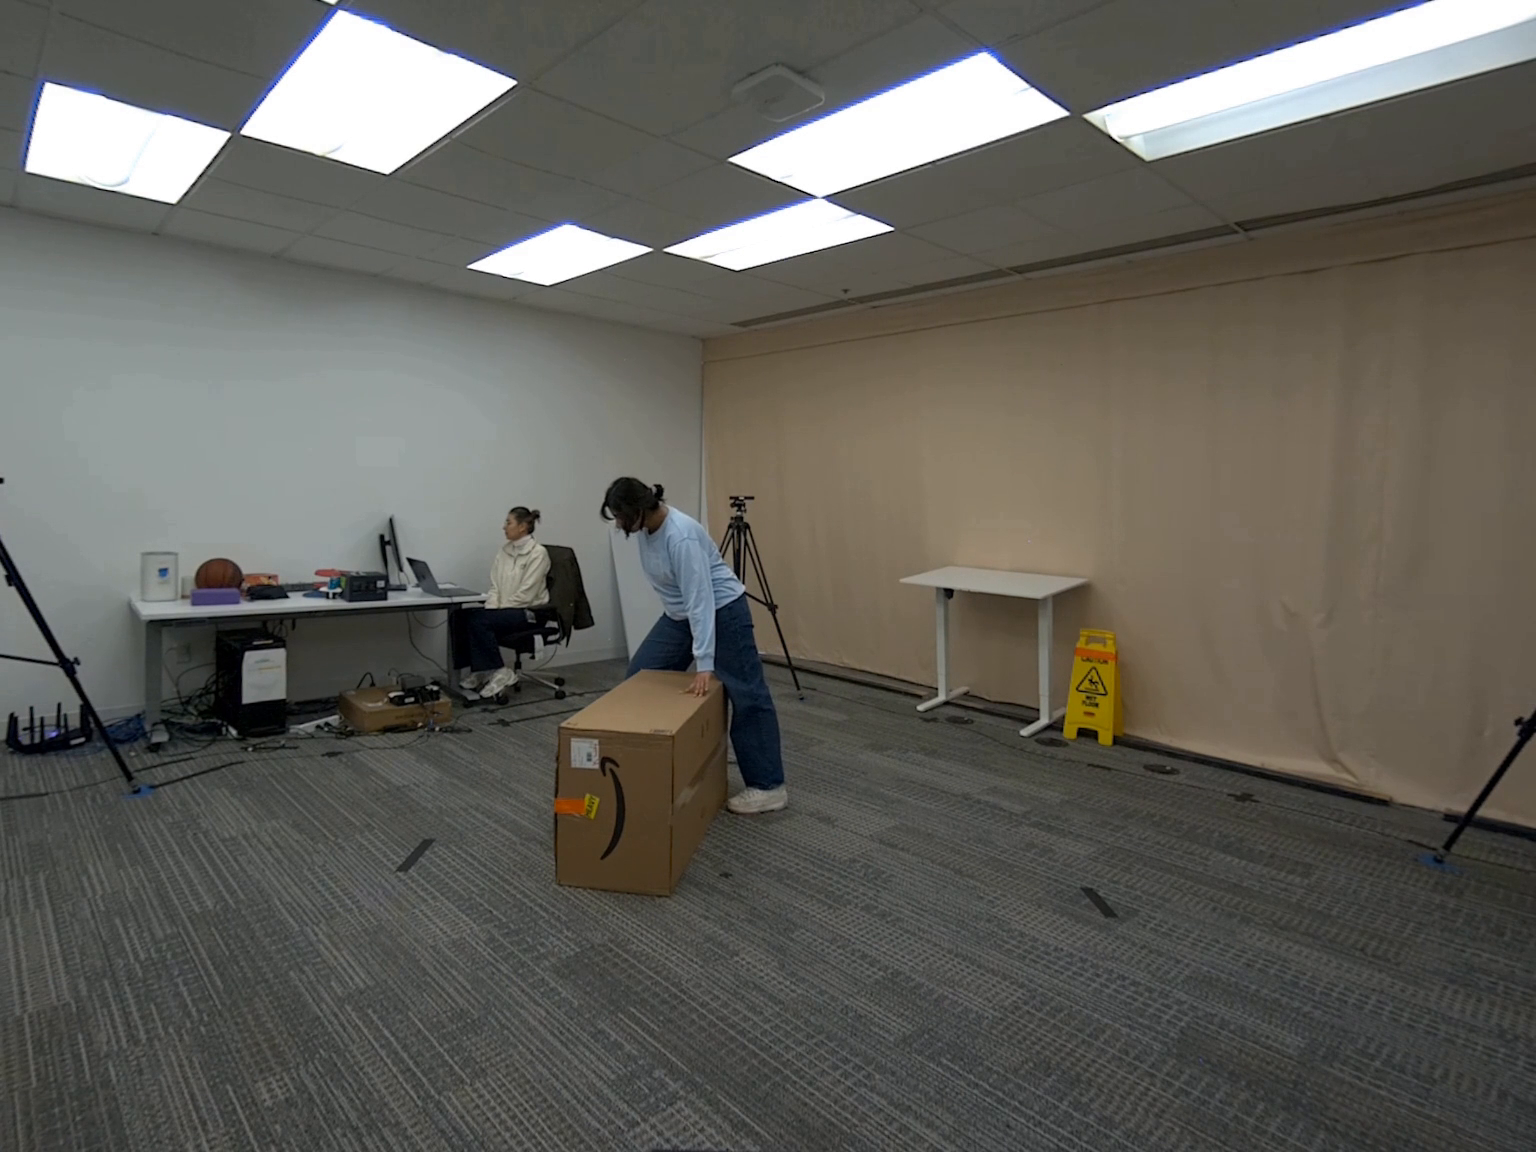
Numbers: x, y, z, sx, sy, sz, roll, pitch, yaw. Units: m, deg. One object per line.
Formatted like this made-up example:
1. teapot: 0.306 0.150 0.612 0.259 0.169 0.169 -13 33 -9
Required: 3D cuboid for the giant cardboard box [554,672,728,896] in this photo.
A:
1. giant cardboard box: -0.479 0.776 3.438 0.429 0.576 1.020 2 4 8
